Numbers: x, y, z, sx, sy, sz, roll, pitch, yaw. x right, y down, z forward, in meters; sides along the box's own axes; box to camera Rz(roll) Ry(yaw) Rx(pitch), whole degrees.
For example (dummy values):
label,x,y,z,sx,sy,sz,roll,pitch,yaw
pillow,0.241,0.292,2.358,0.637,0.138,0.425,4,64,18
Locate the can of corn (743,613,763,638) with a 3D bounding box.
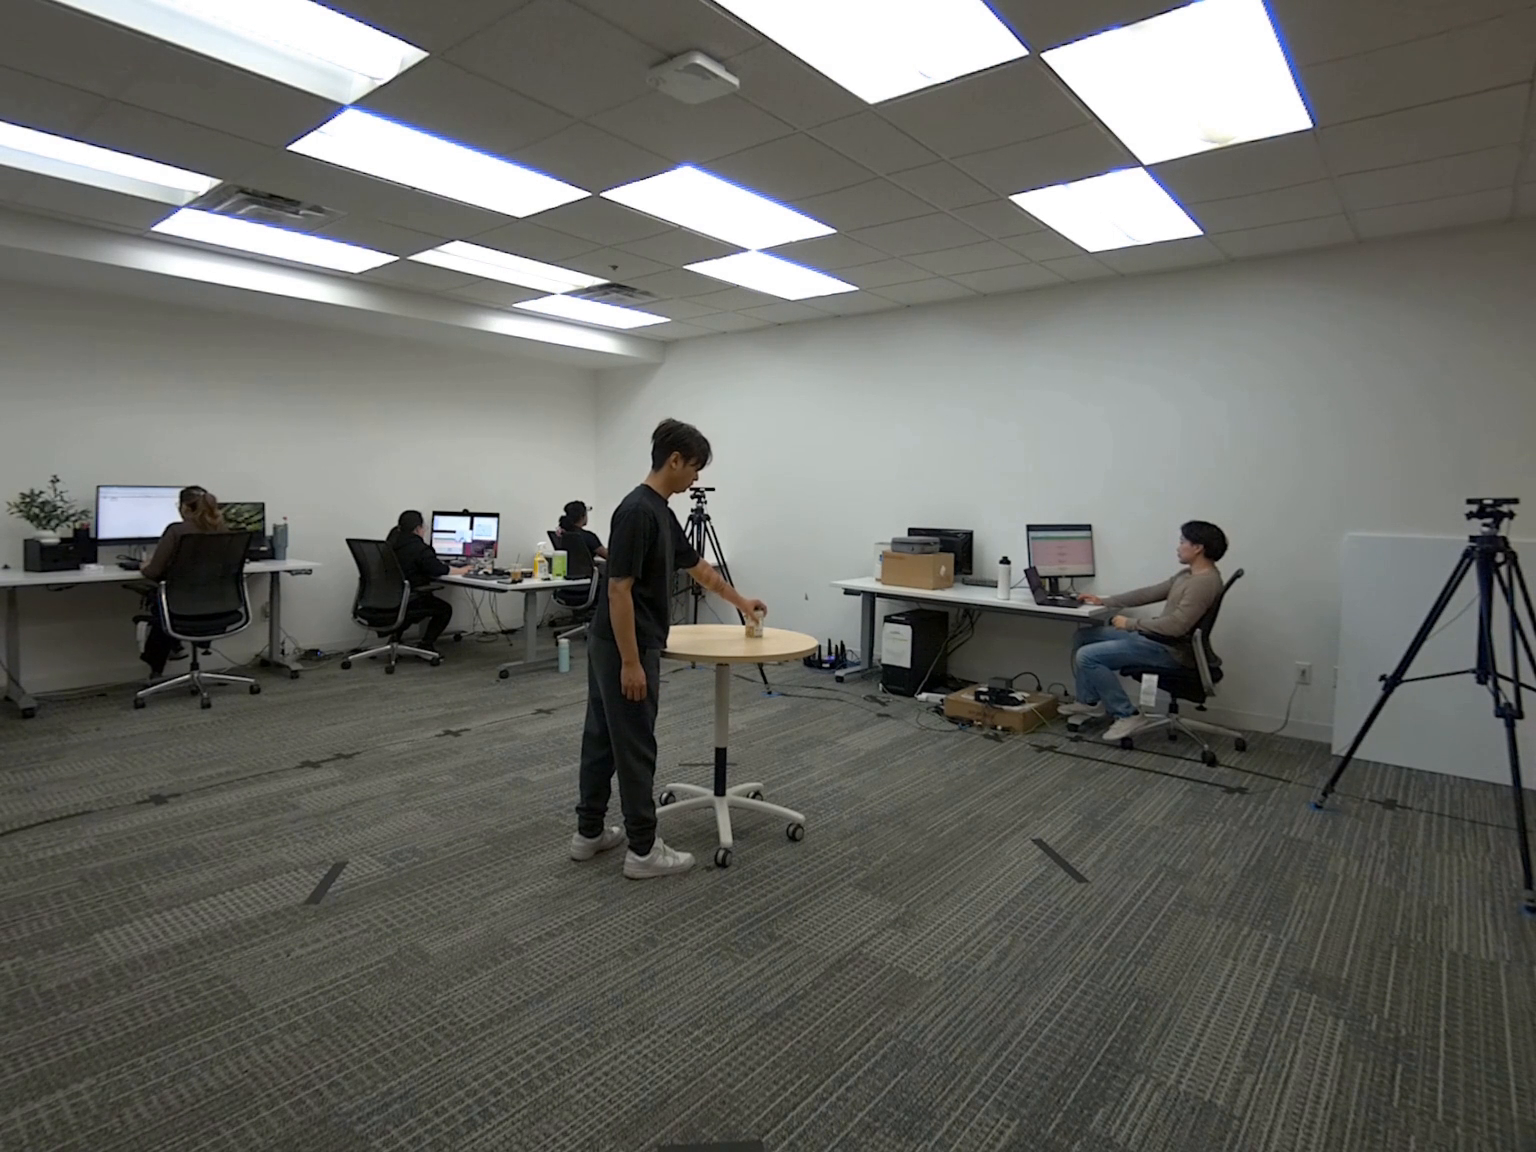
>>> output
label,x,y,z,sx,sy,sz,roll,pitch,yaw
can of corn,-0.067,0.189,3.531,0.074,0.111,0.074,2,1,-2
